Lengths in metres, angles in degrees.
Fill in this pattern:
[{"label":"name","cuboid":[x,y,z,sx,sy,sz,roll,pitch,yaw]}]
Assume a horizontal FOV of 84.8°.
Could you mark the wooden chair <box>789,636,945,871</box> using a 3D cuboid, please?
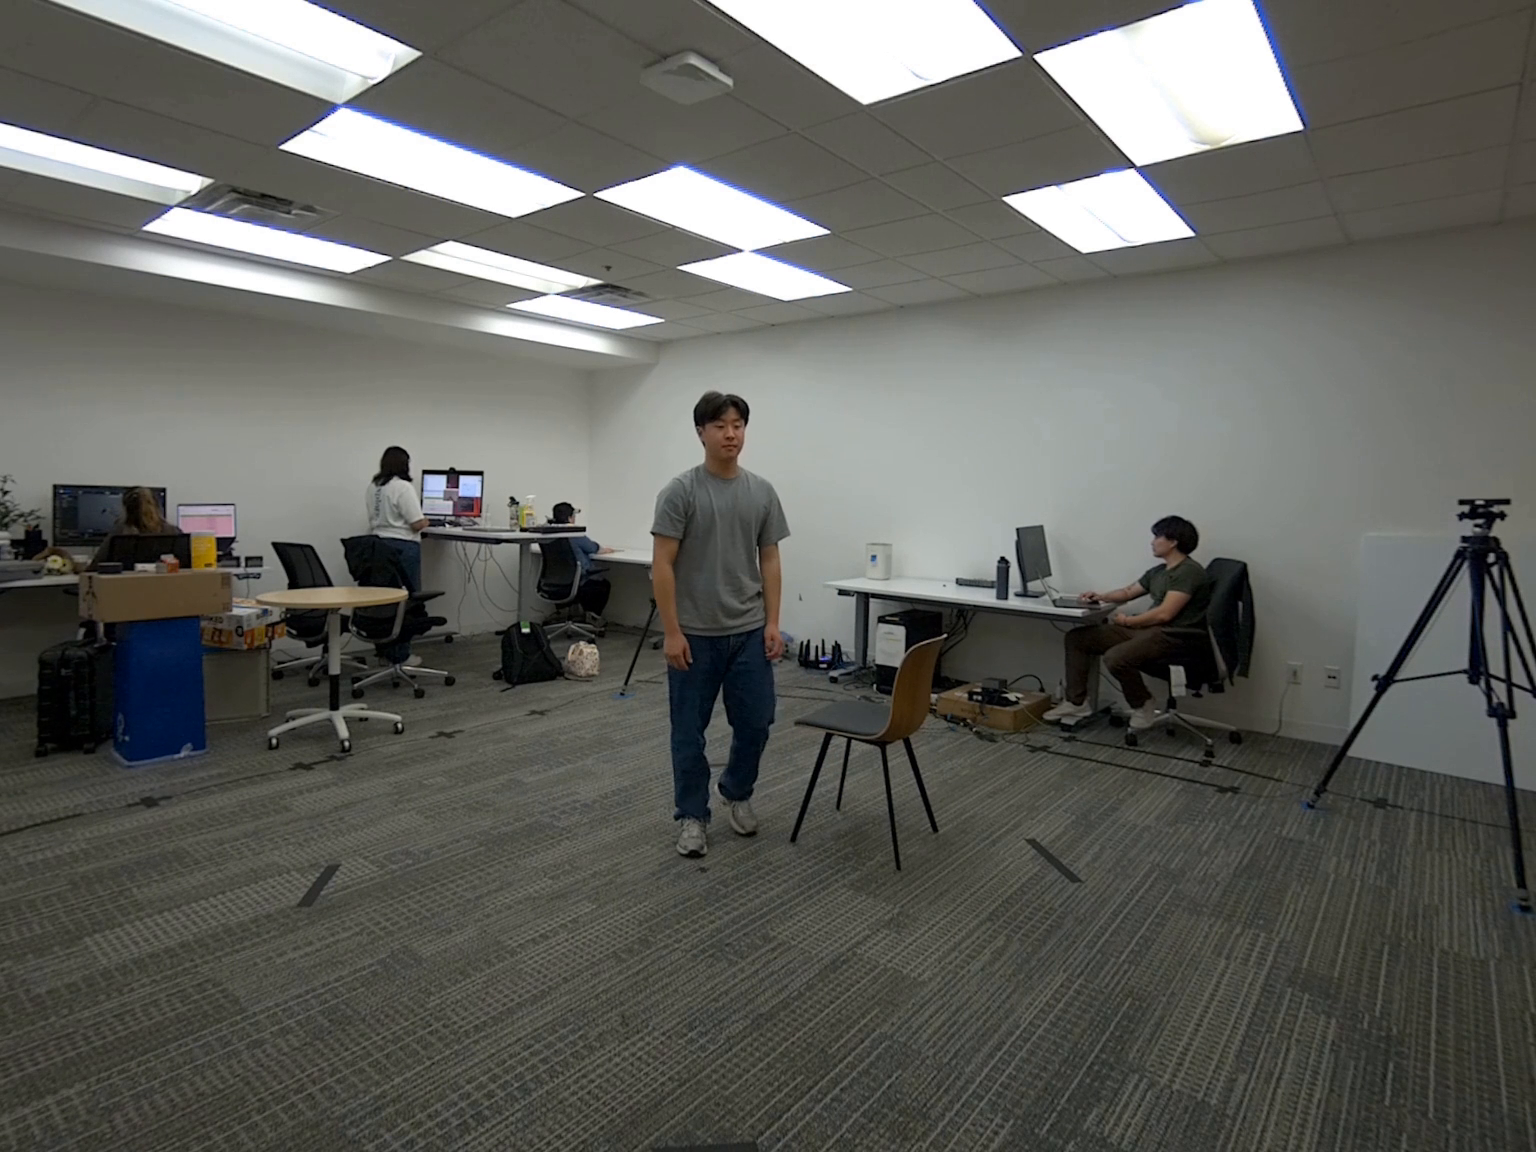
[{"label":"wooden chair","cuboid":[0.386,0.627,3.414,0.540,0.873,0.465,8,7,30]}]
